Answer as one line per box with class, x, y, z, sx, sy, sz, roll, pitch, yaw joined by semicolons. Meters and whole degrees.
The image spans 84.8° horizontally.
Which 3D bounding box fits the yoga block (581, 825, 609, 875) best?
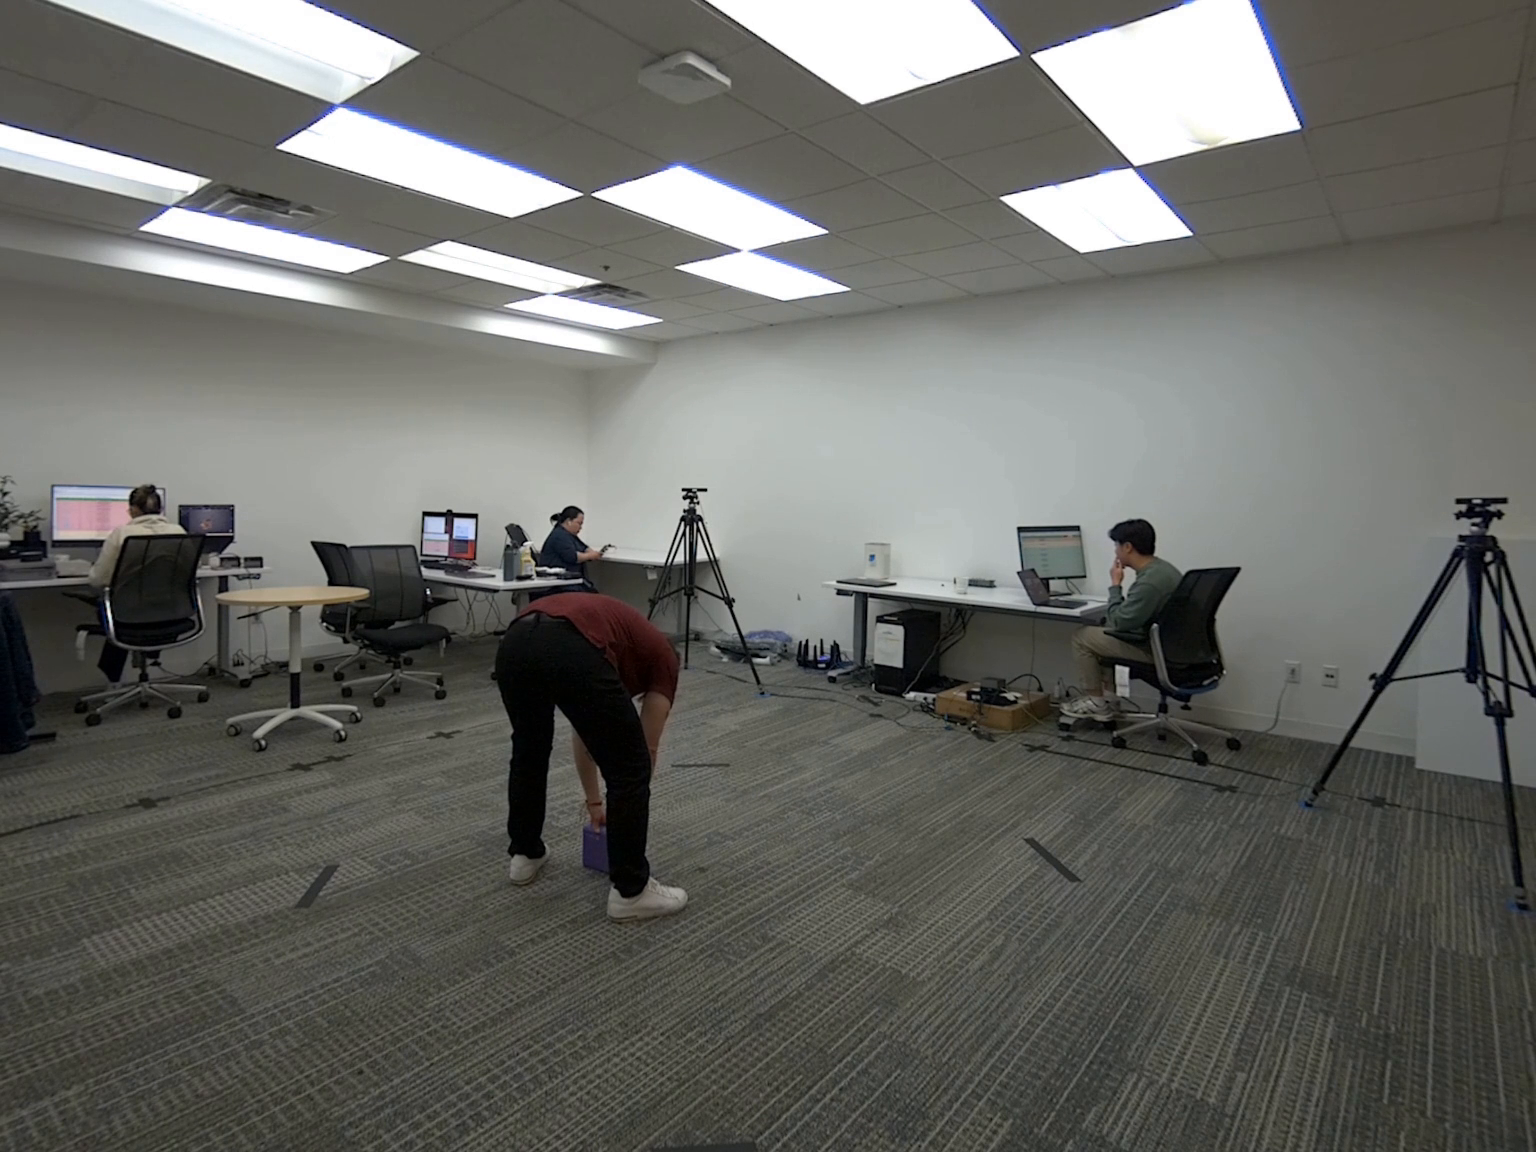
yoga block;-0.580;0.997;3.080;0.236;0.148;0.075;4;9;29
